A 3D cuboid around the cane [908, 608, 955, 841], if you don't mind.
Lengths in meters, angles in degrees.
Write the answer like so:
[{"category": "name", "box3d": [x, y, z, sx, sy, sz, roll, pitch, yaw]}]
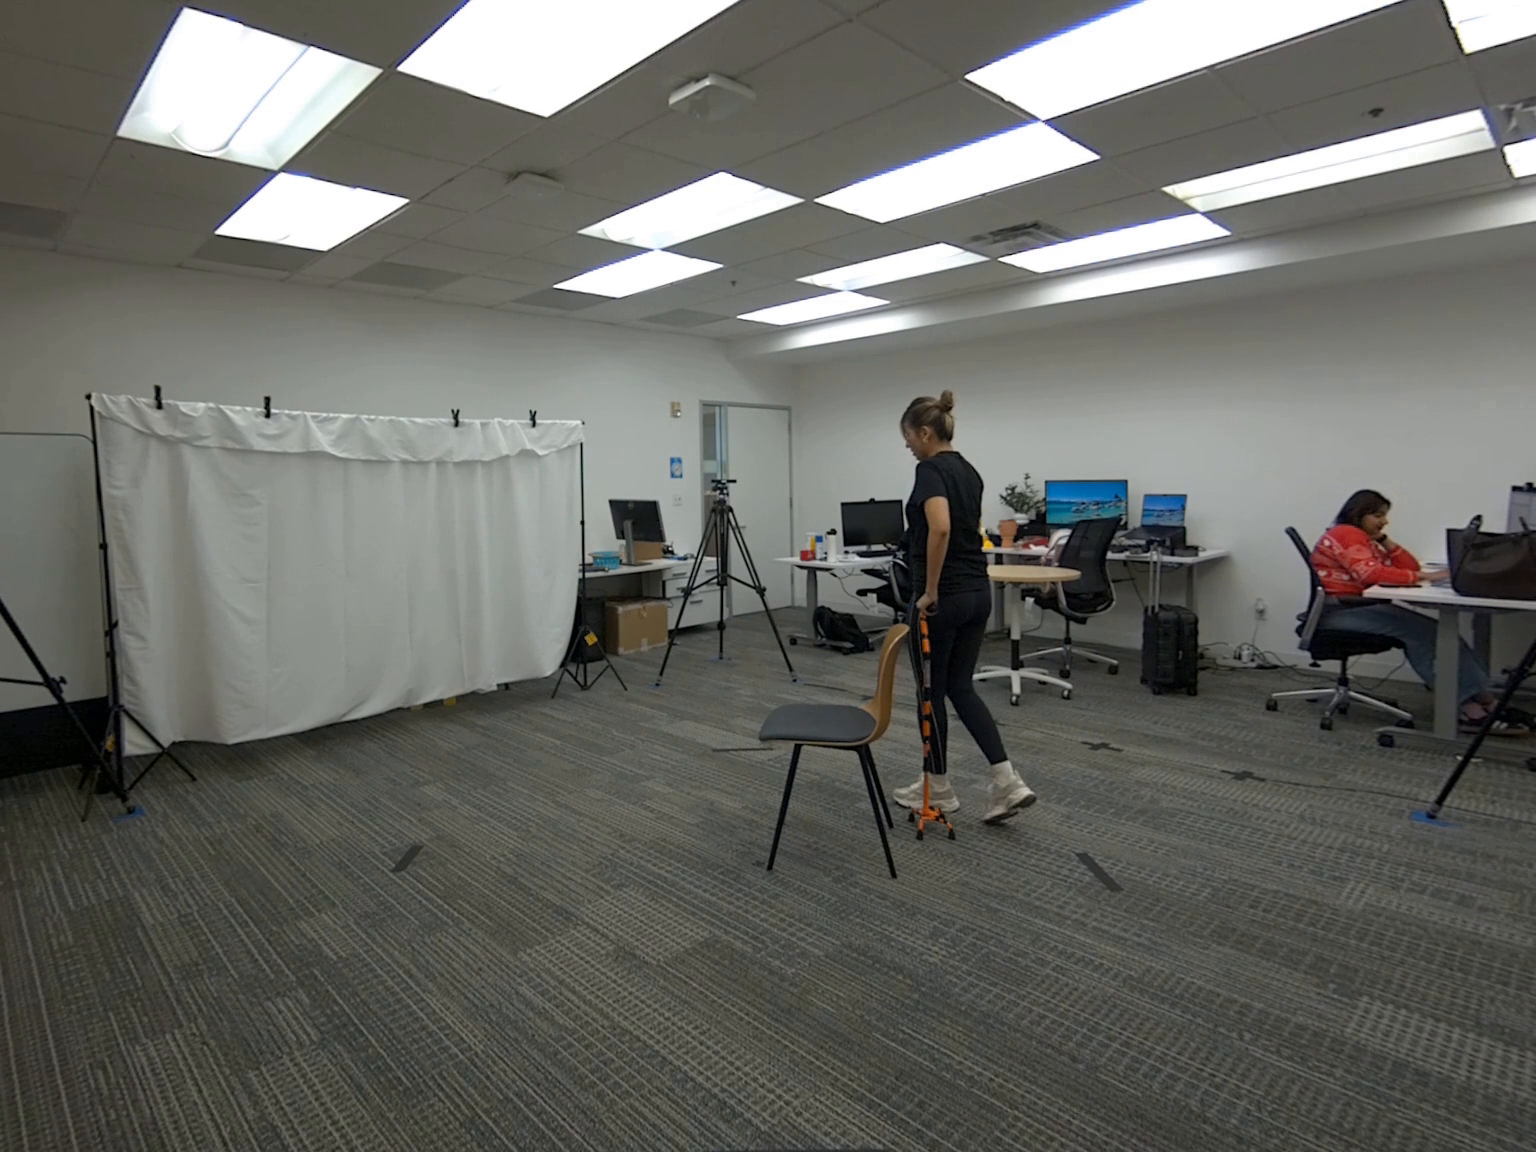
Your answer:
[{"category": "cane", "box3d": [0.633, 0.546, 3.347, 0.149, 0.902, 0.211, -3, 7, -19]}]
